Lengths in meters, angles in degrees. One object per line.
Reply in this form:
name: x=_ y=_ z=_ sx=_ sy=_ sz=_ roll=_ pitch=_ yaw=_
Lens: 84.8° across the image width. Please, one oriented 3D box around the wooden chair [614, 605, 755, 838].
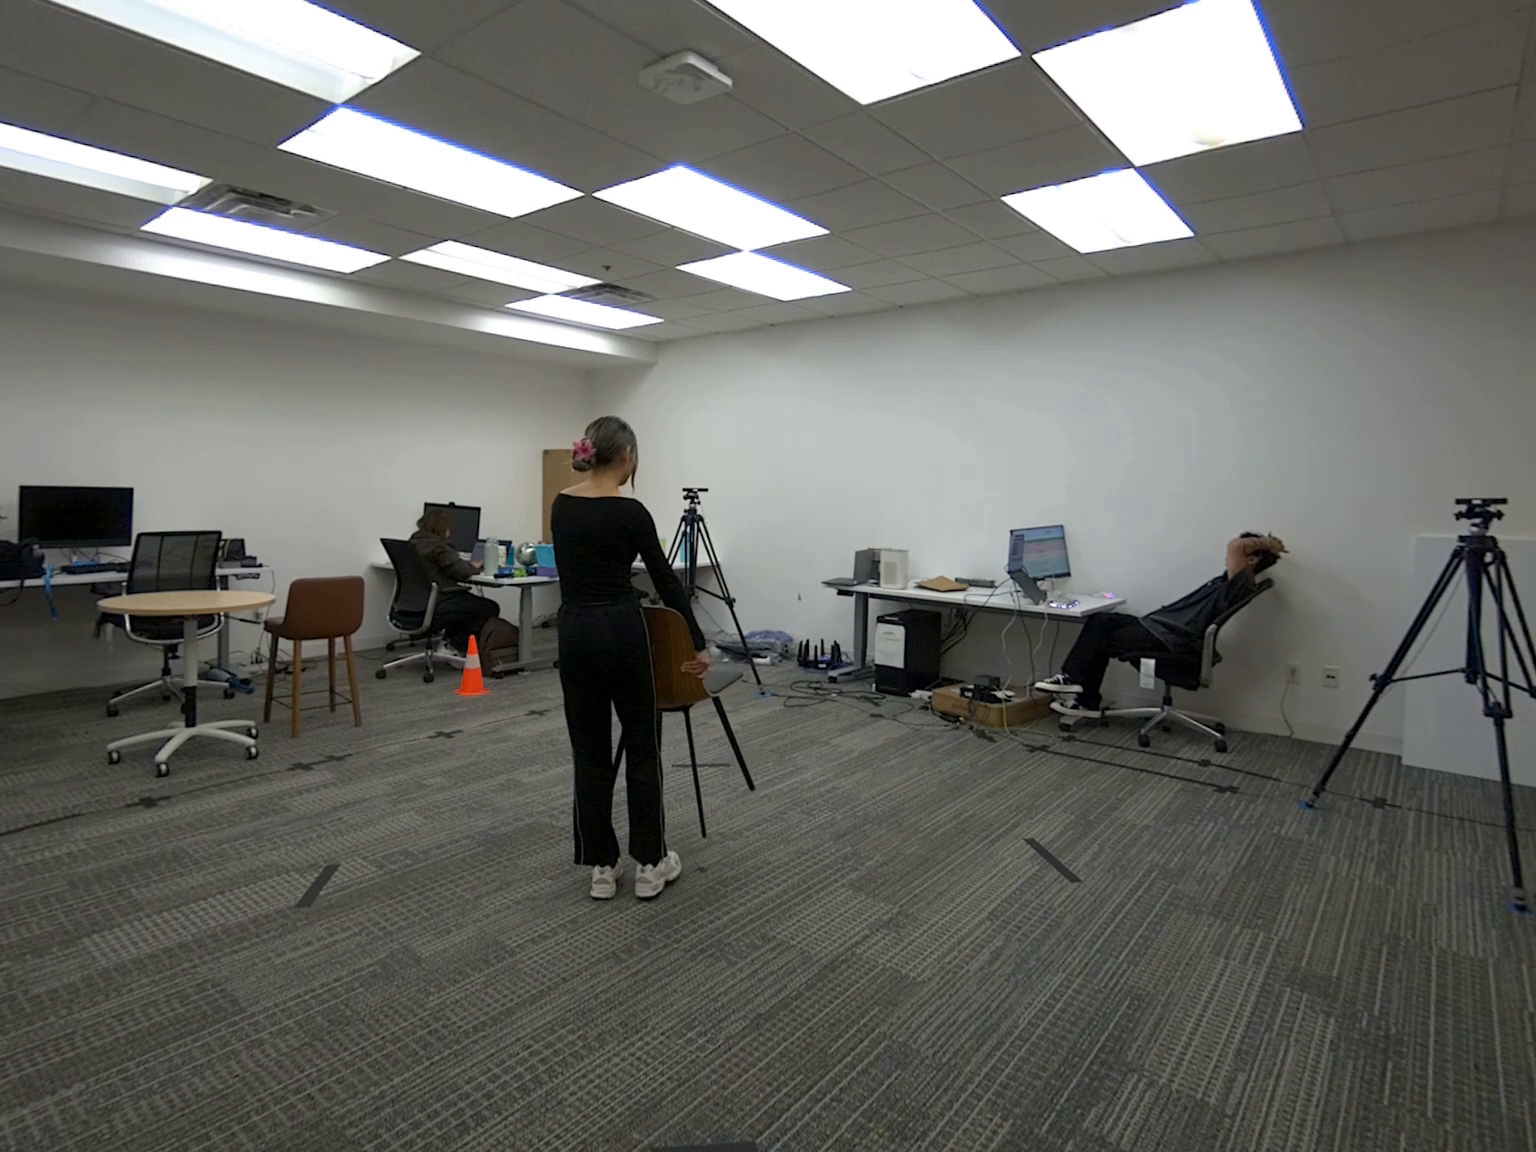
wooden chair: x=-0.379 y=0.469 z=3.270 sx=0.489 sy=0.869 sz=0.516 roll=-2 pitch=10 yaw=24
